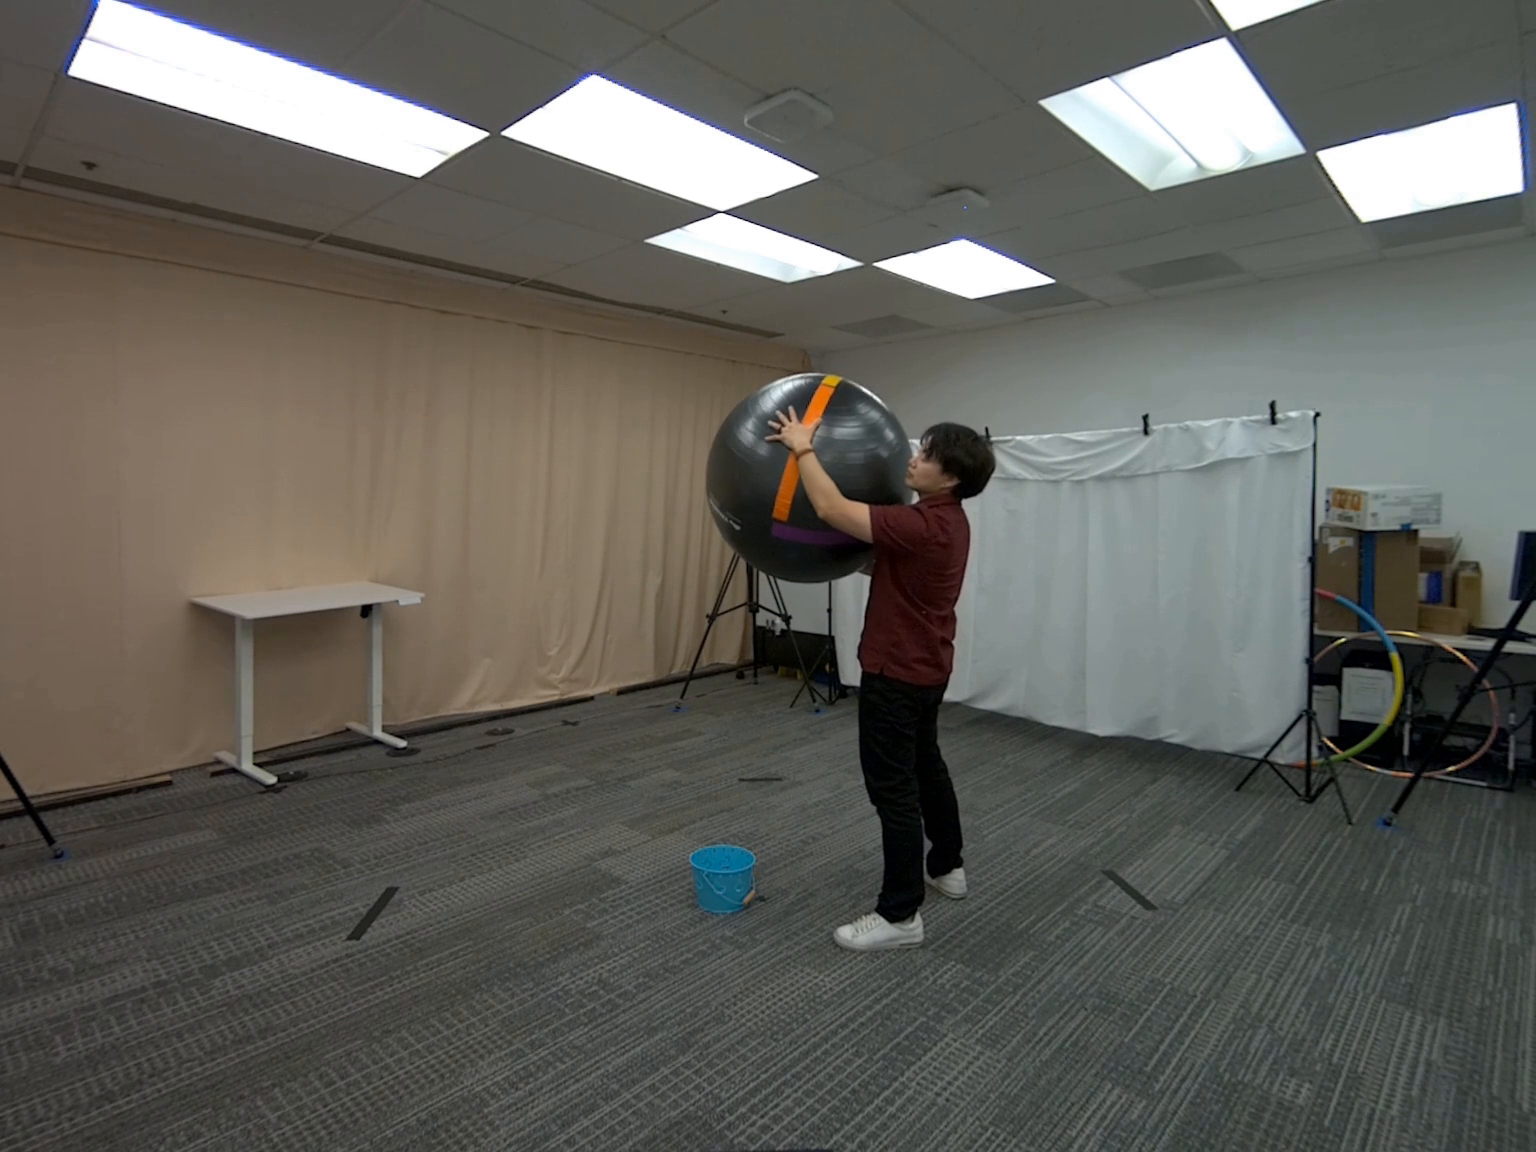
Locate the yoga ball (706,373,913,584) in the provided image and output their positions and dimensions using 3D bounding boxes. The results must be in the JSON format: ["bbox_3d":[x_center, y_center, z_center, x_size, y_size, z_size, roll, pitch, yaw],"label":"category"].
[{"bbox_3d":[0.153,-0.355,3.081,0.757,0.756,0.760,0,4,-2],"label":"yoga ball"}]
